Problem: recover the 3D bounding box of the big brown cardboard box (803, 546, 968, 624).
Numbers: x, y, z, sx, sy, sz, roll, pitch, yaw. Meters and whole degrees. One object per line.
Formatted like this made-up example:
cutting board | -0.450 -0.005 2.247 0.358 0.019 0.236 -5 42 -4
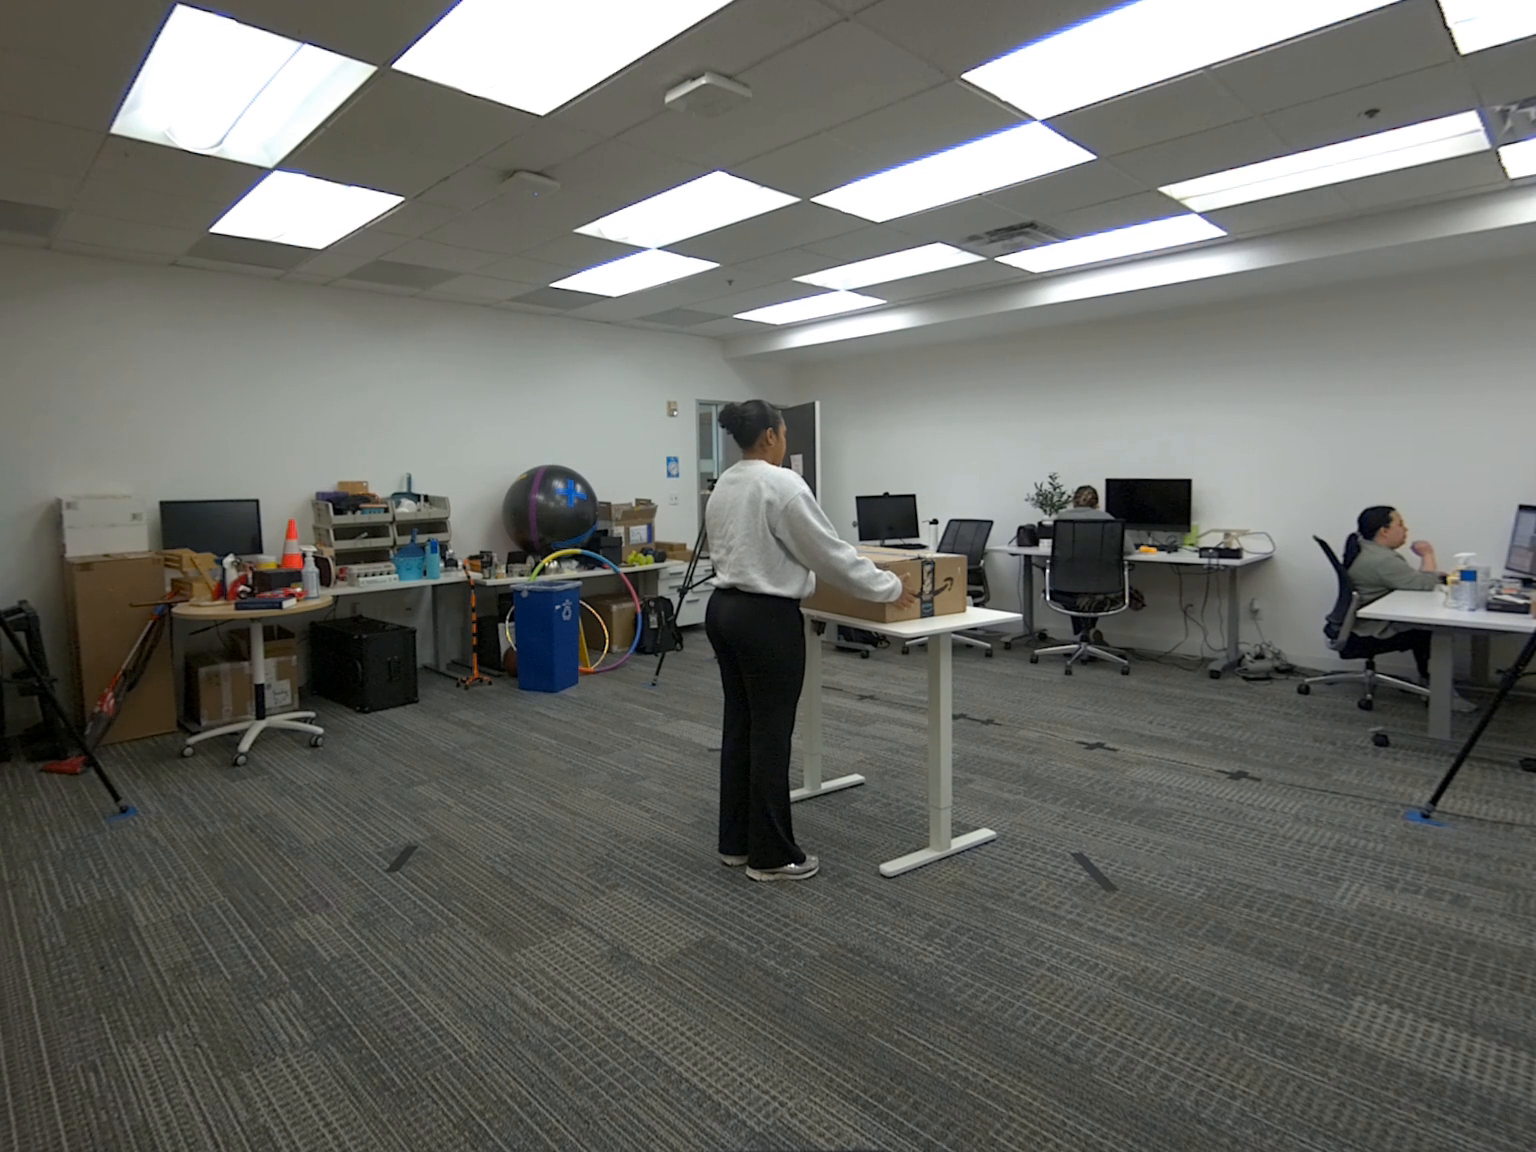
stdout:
big brown cardboard box | 0.421 0.020 3.345 0.407 0.232 0.606 -5 7 -34
